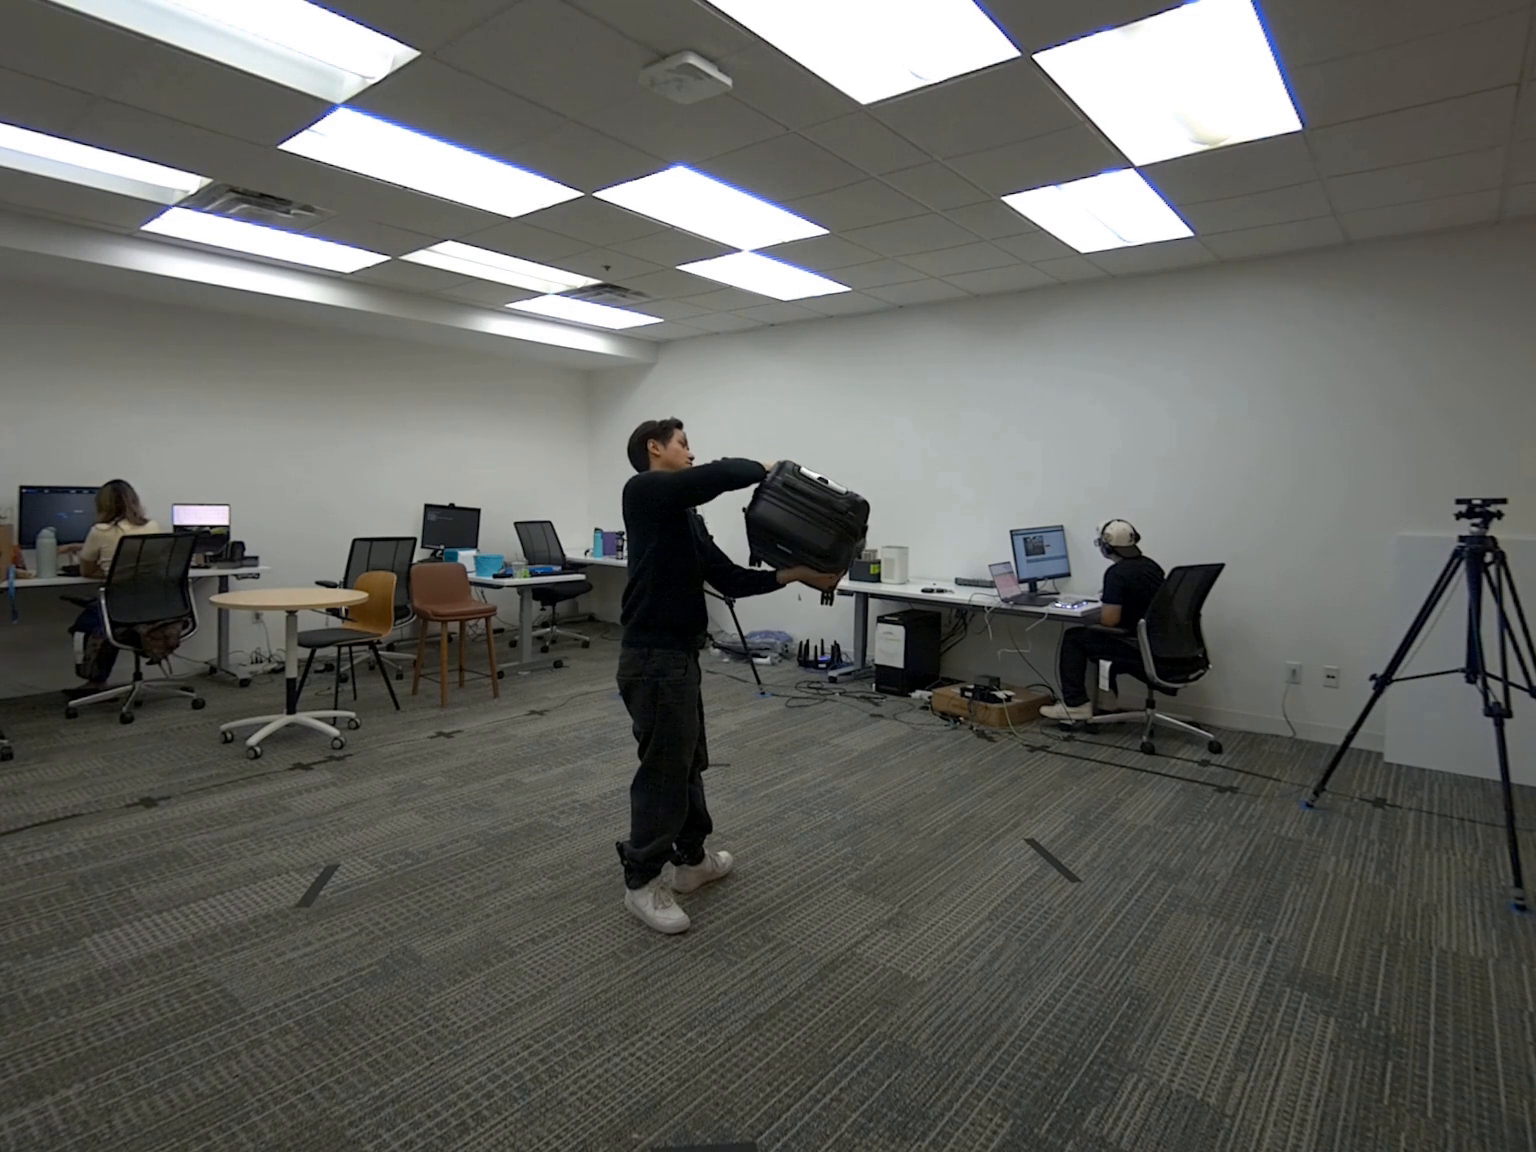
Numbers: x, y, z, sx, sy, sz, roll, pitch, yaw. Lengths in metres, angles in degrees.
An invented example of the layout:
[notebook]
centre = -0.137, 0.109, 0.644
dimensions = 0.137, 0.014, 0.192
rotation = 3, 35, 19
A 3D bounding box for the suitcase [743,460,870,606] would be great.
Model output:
[suitcase]
centre = 0.120, -0.146, 2.823
dimensions = 0.382, 0.249, 0.539
rotation = 29, -10, 10
